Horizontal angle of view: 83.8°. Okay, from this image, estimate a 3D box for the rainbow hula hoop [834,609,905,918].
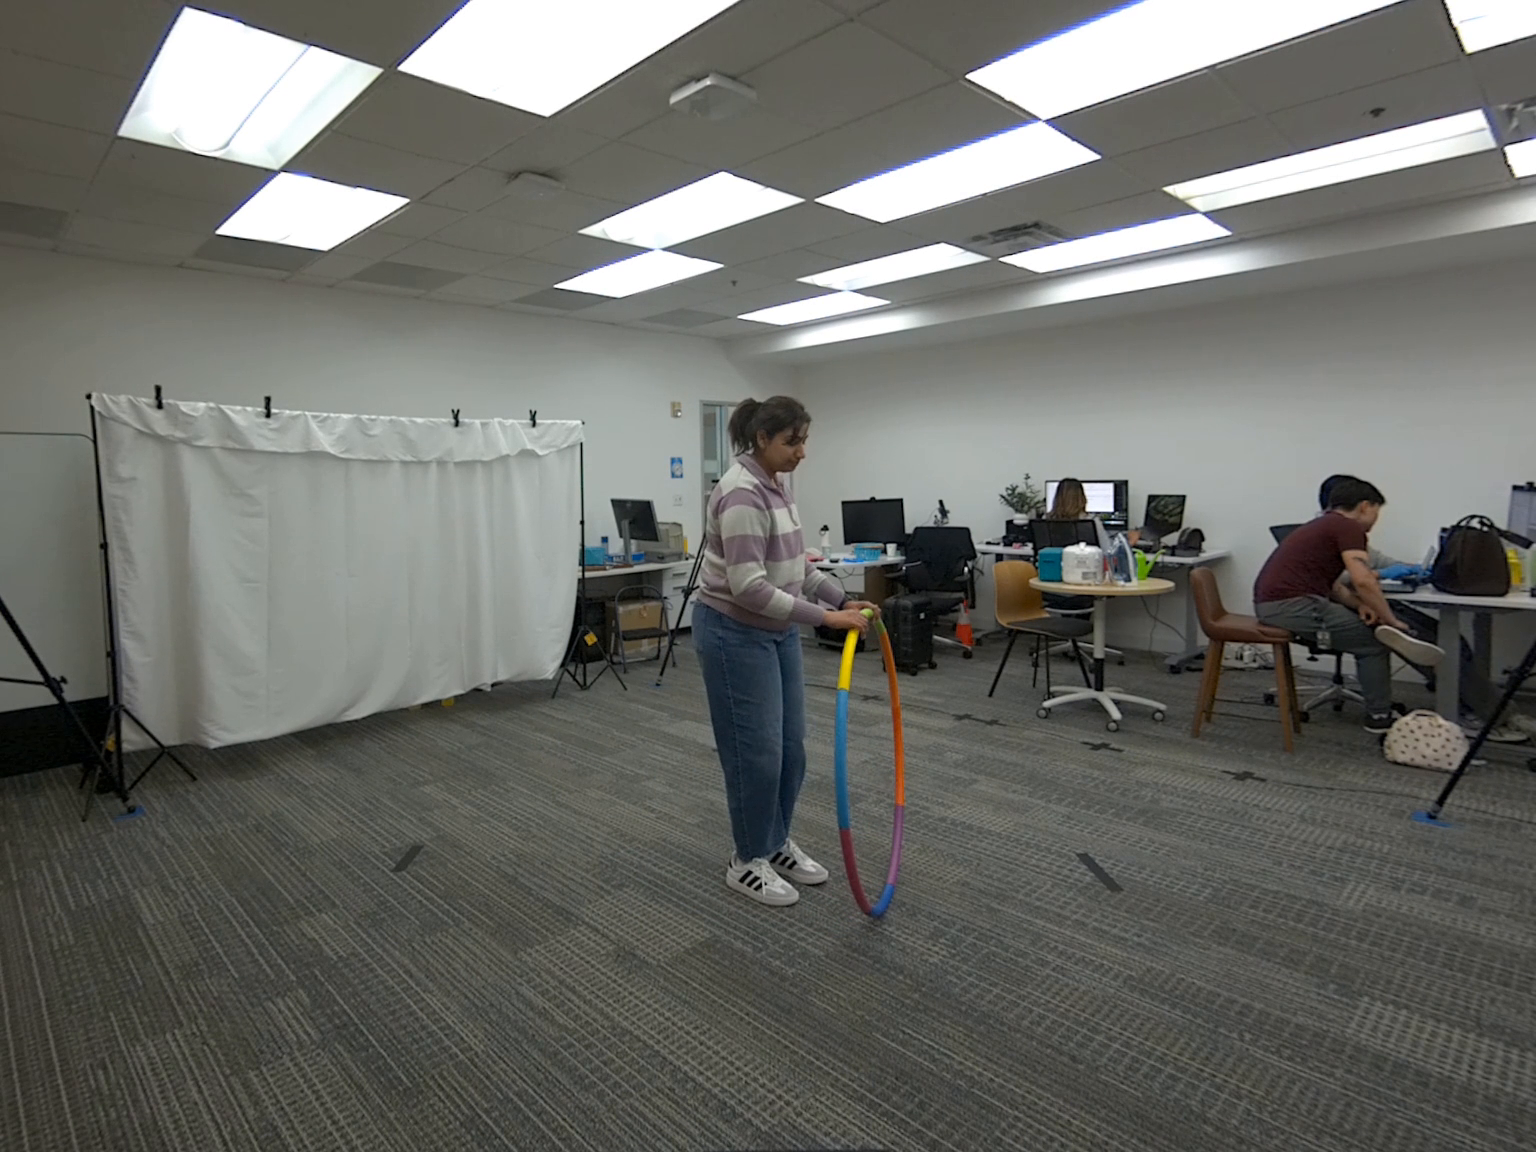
[{"bbox_3d":[0.352,0.593,2.820,0.036,0.976,0.966,-5,3,17],"label":"rainbow hula hoop"}]
